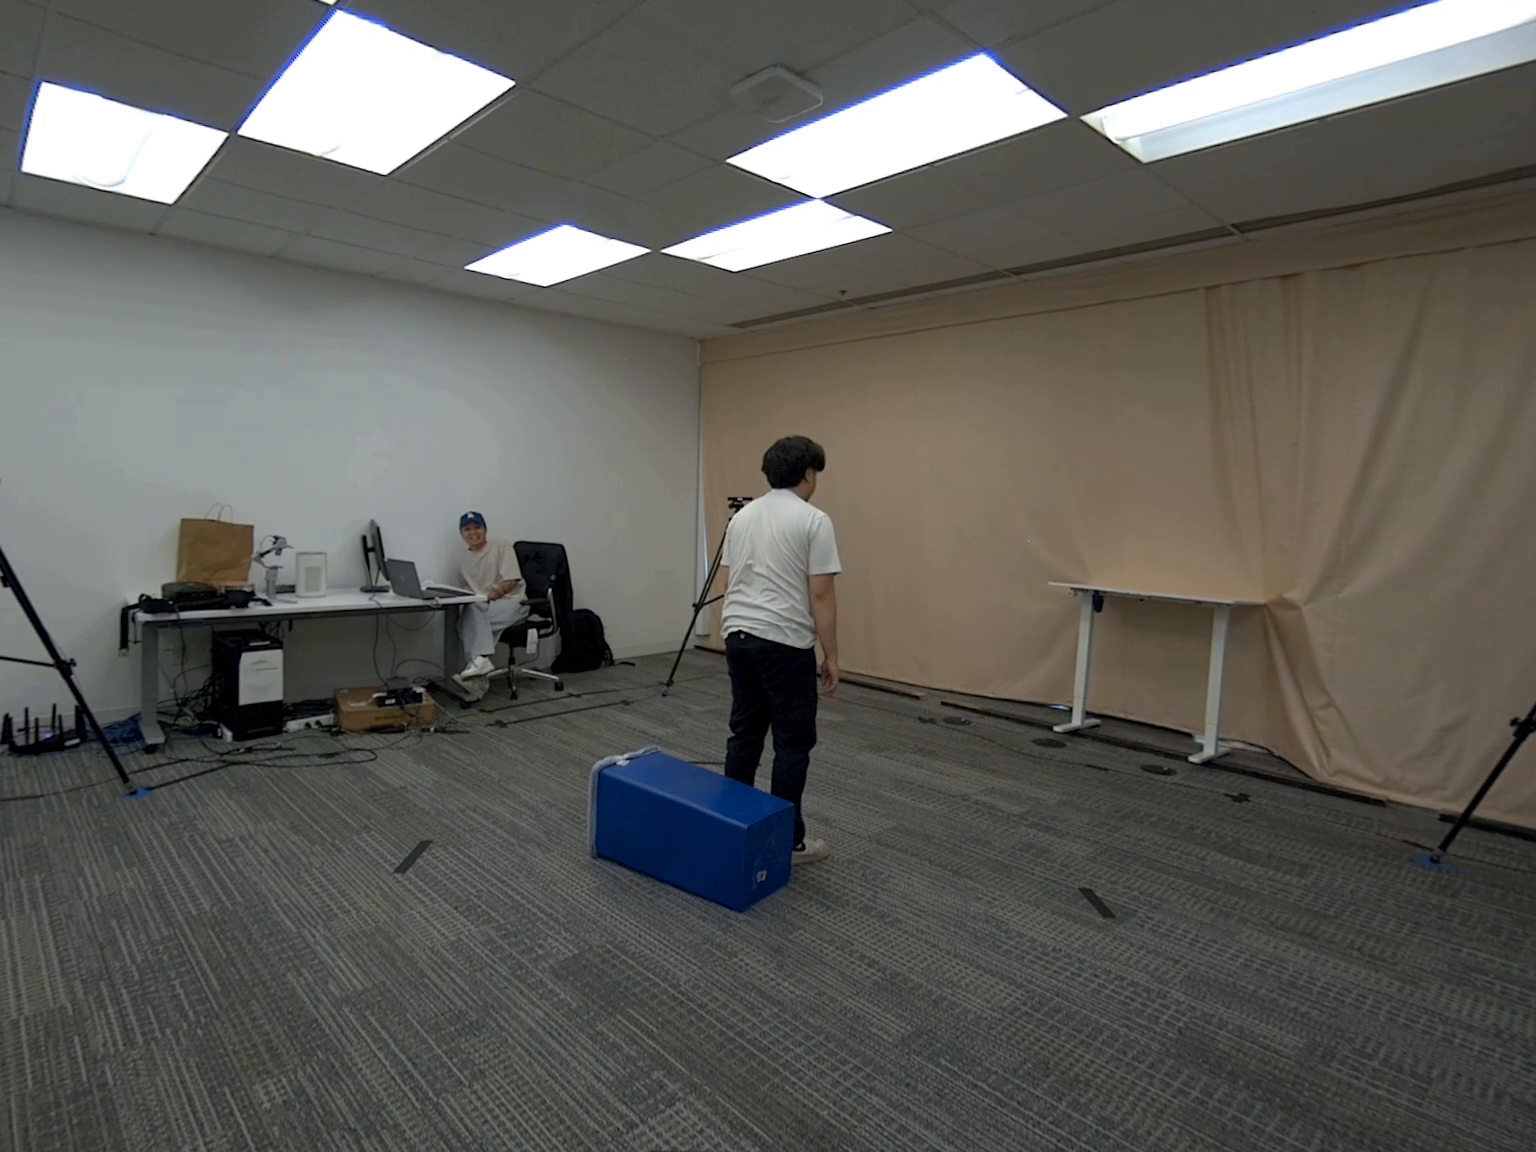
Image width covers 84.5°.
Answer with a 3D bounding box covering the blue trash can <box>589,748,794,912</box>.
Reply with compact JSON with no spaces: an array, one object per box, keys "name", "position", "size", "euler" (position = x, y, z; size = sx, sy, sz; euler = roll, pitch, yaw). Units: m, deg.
[{"name":"blue trash can","position":[-0.299,0.939,3.135],"size":[0.732,0.373,0.369],"euler":[9,6,37]}]
